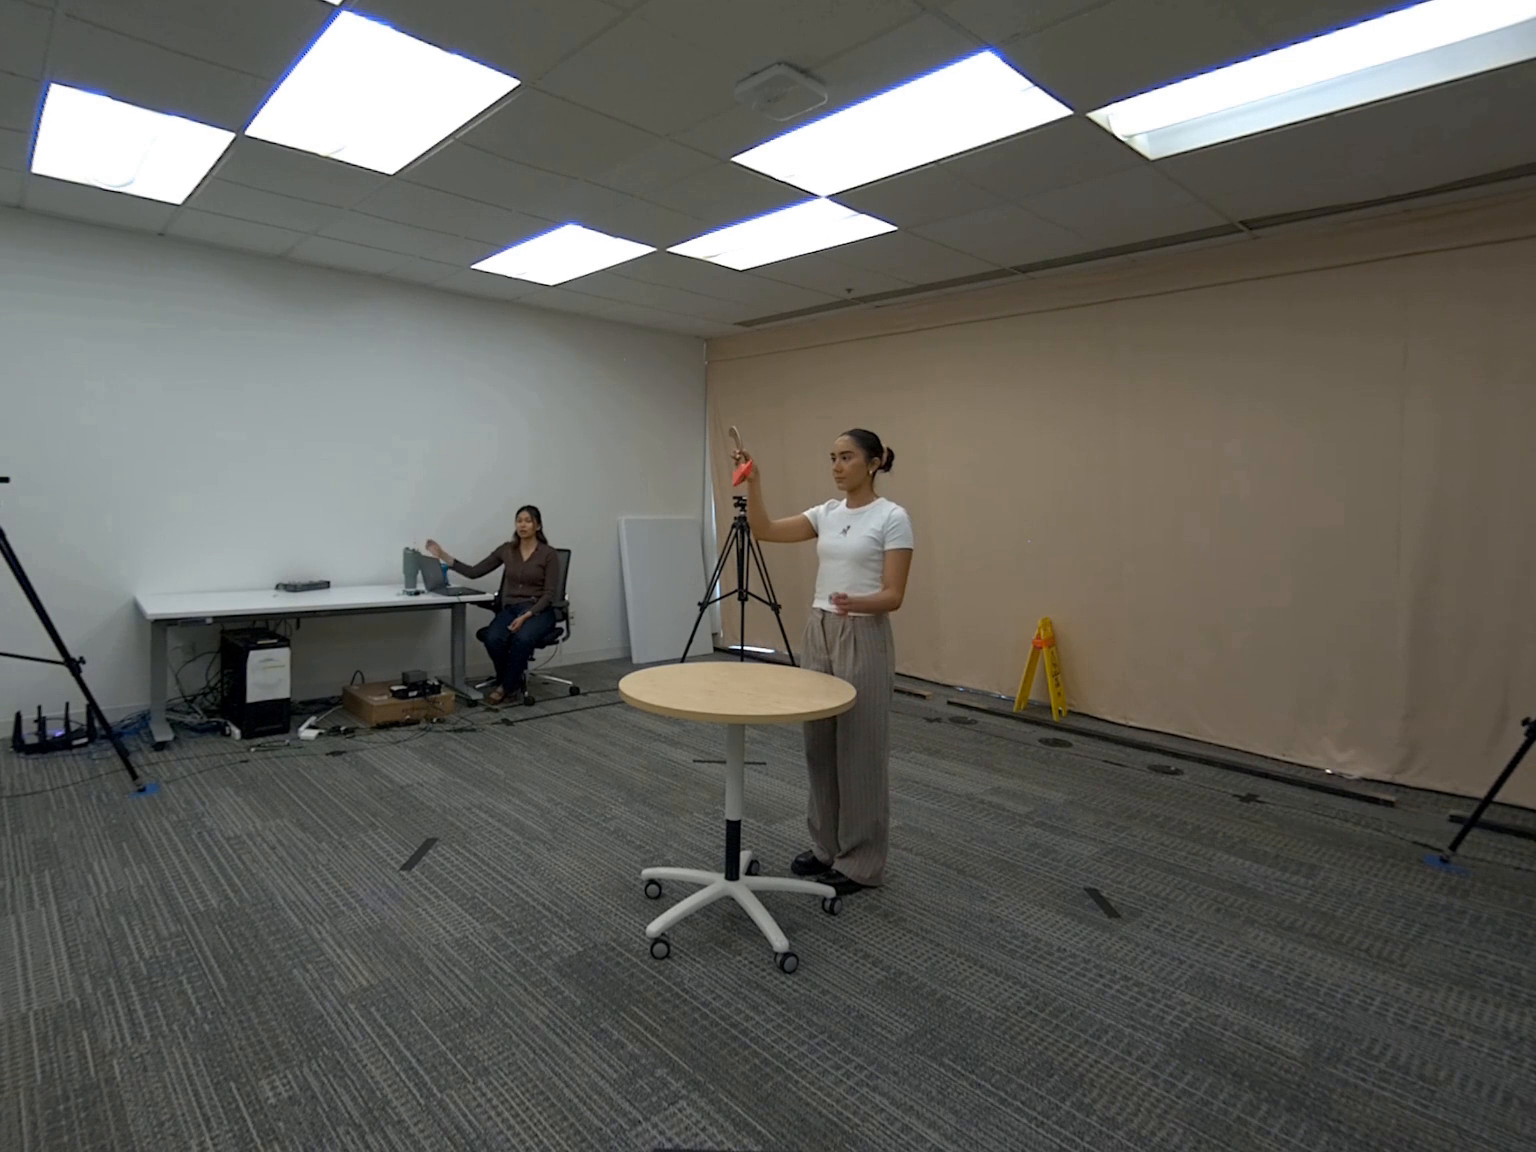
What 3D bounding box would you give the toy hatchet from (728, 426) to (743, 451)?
[{"bbox_3d":[-0.116,-0.406,2.918,0.029,0.129,0.277,11,32,-18],"label":"toy hatchet"}]
